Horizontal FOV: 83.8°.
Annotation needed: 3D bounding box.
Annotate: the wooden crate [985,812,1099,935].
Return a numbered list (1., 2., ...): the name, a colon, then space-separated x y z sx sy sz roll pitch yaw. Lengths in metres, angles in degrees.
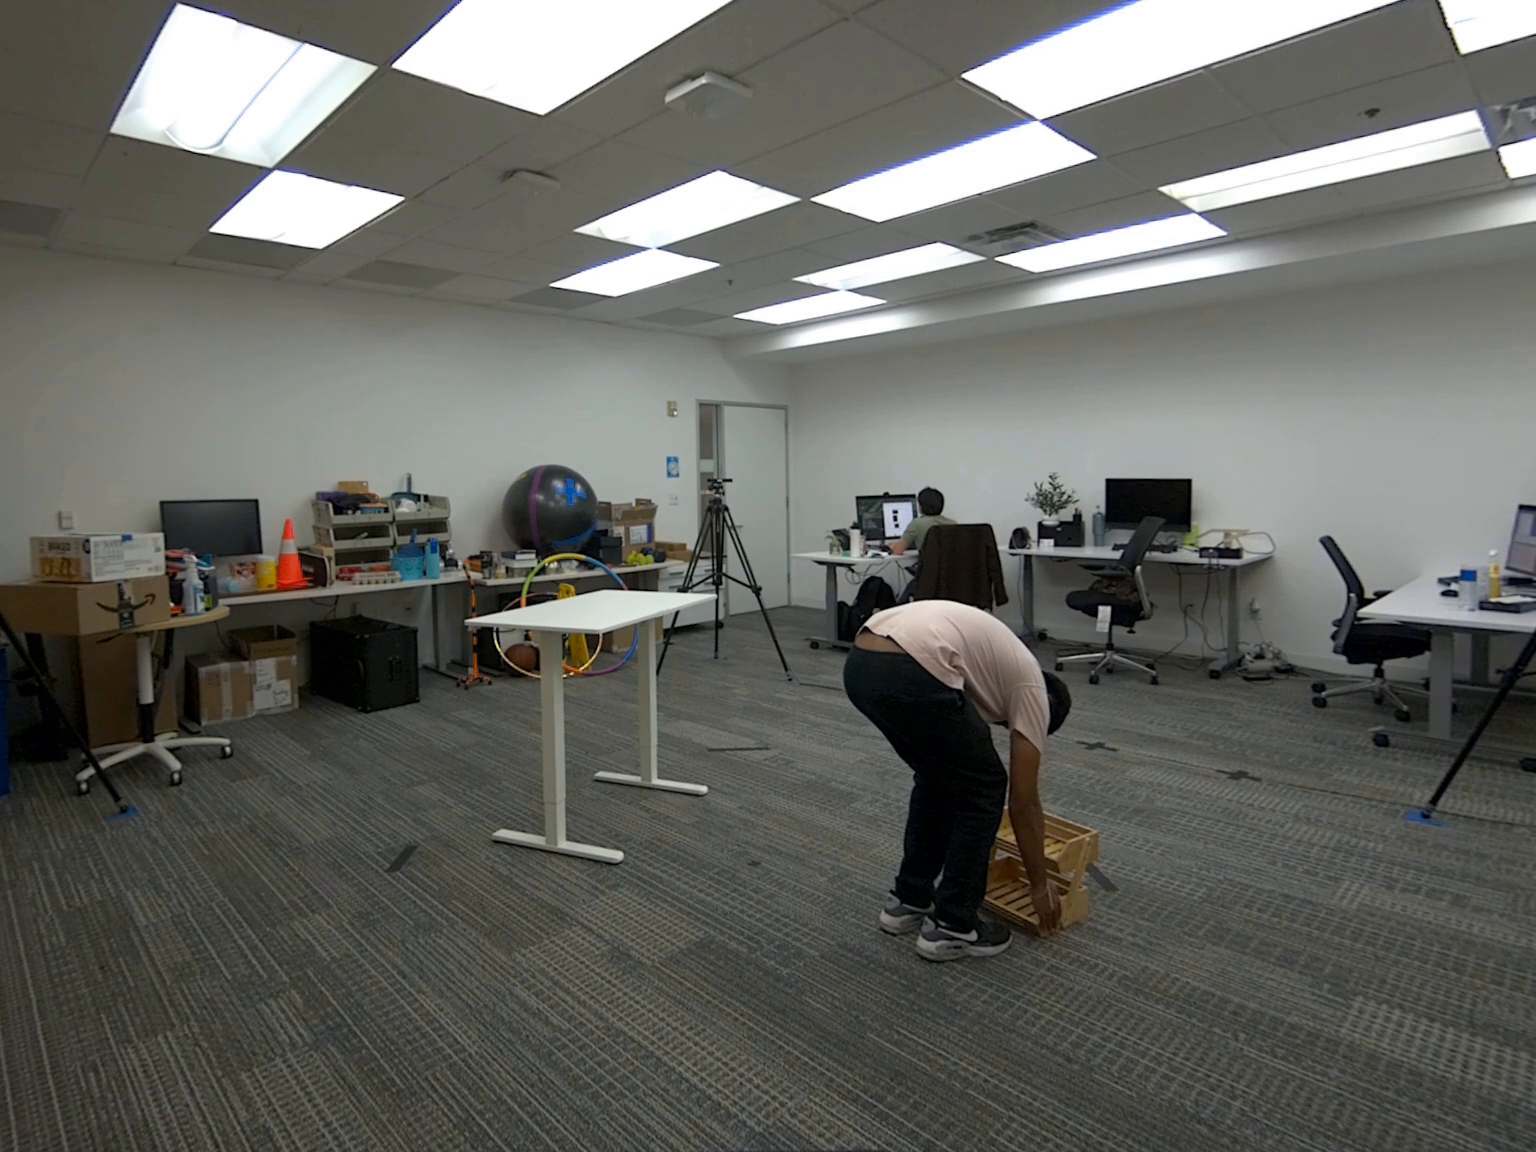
1. wooden crate: 0.846 0.932 2.762 0.294 0.272 0.334 -5 6 -35
